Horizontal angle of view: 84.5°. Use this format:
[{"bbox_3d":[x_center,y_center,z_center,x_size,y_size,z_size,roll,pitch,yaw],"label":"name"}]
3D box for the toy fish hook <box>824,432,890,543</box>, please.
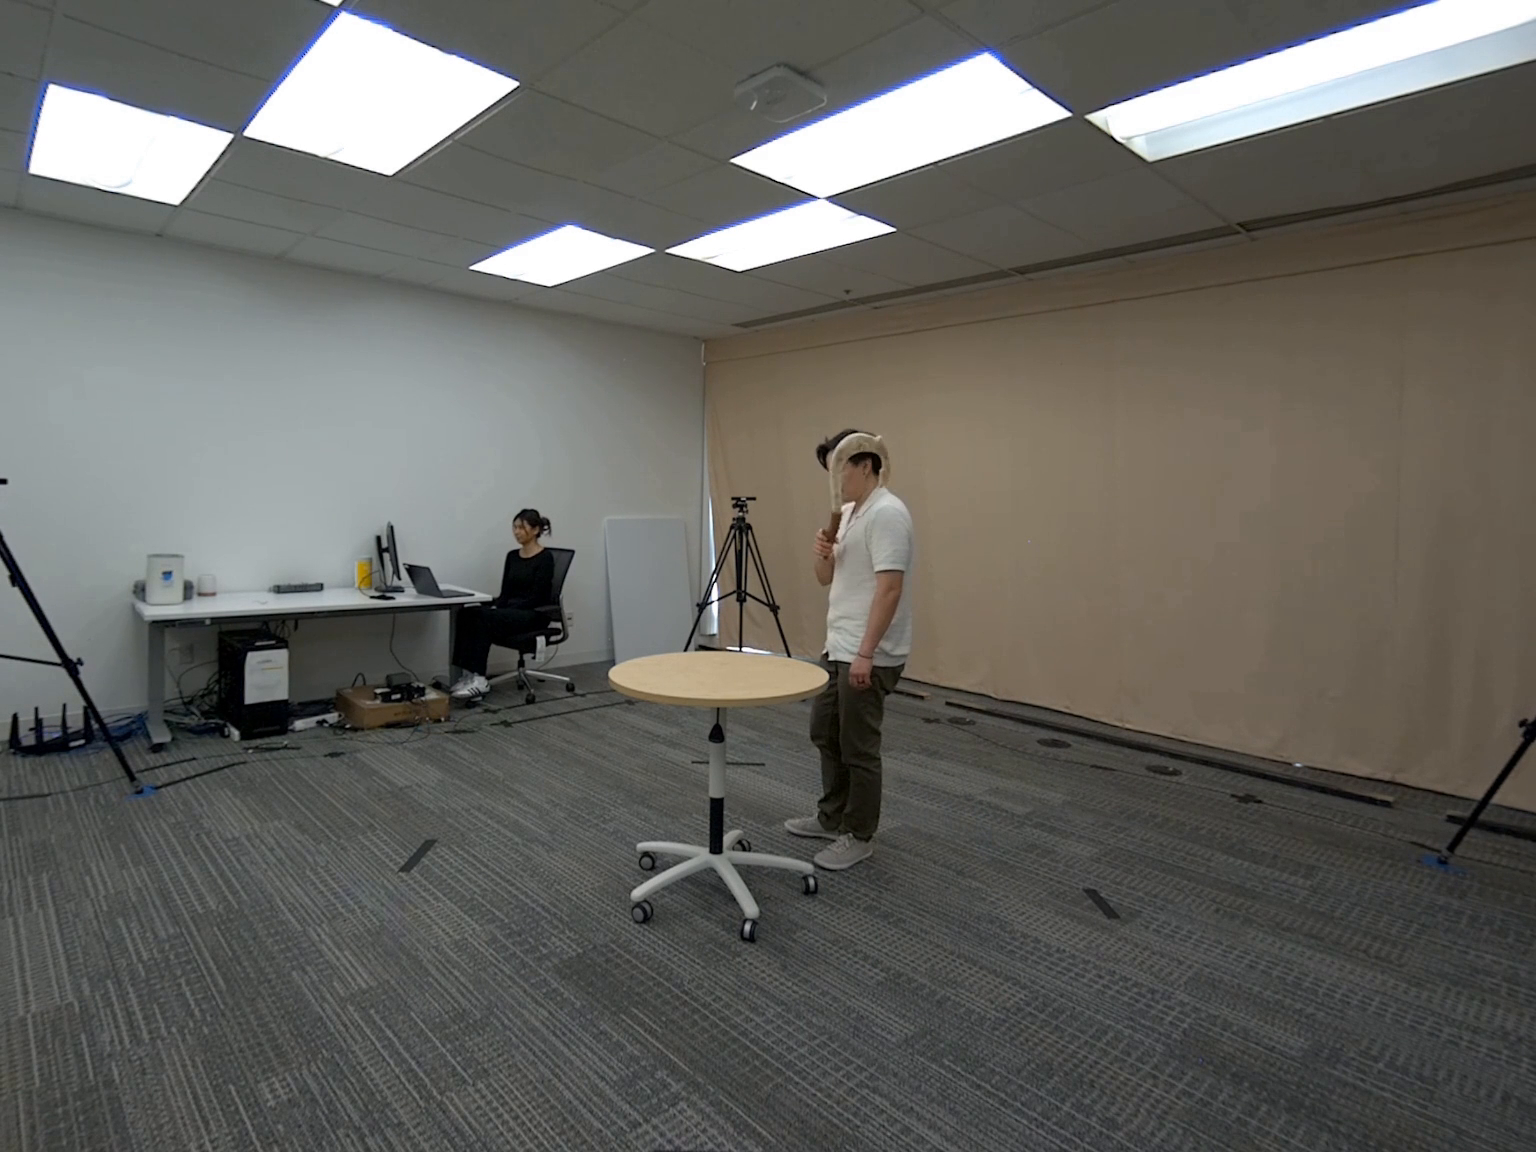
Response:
[{"bbox_3d":[0.301,-0.262,3.062,0.223,0.500,0.049,9,25,-6],"label":"toy fish hook"}]
